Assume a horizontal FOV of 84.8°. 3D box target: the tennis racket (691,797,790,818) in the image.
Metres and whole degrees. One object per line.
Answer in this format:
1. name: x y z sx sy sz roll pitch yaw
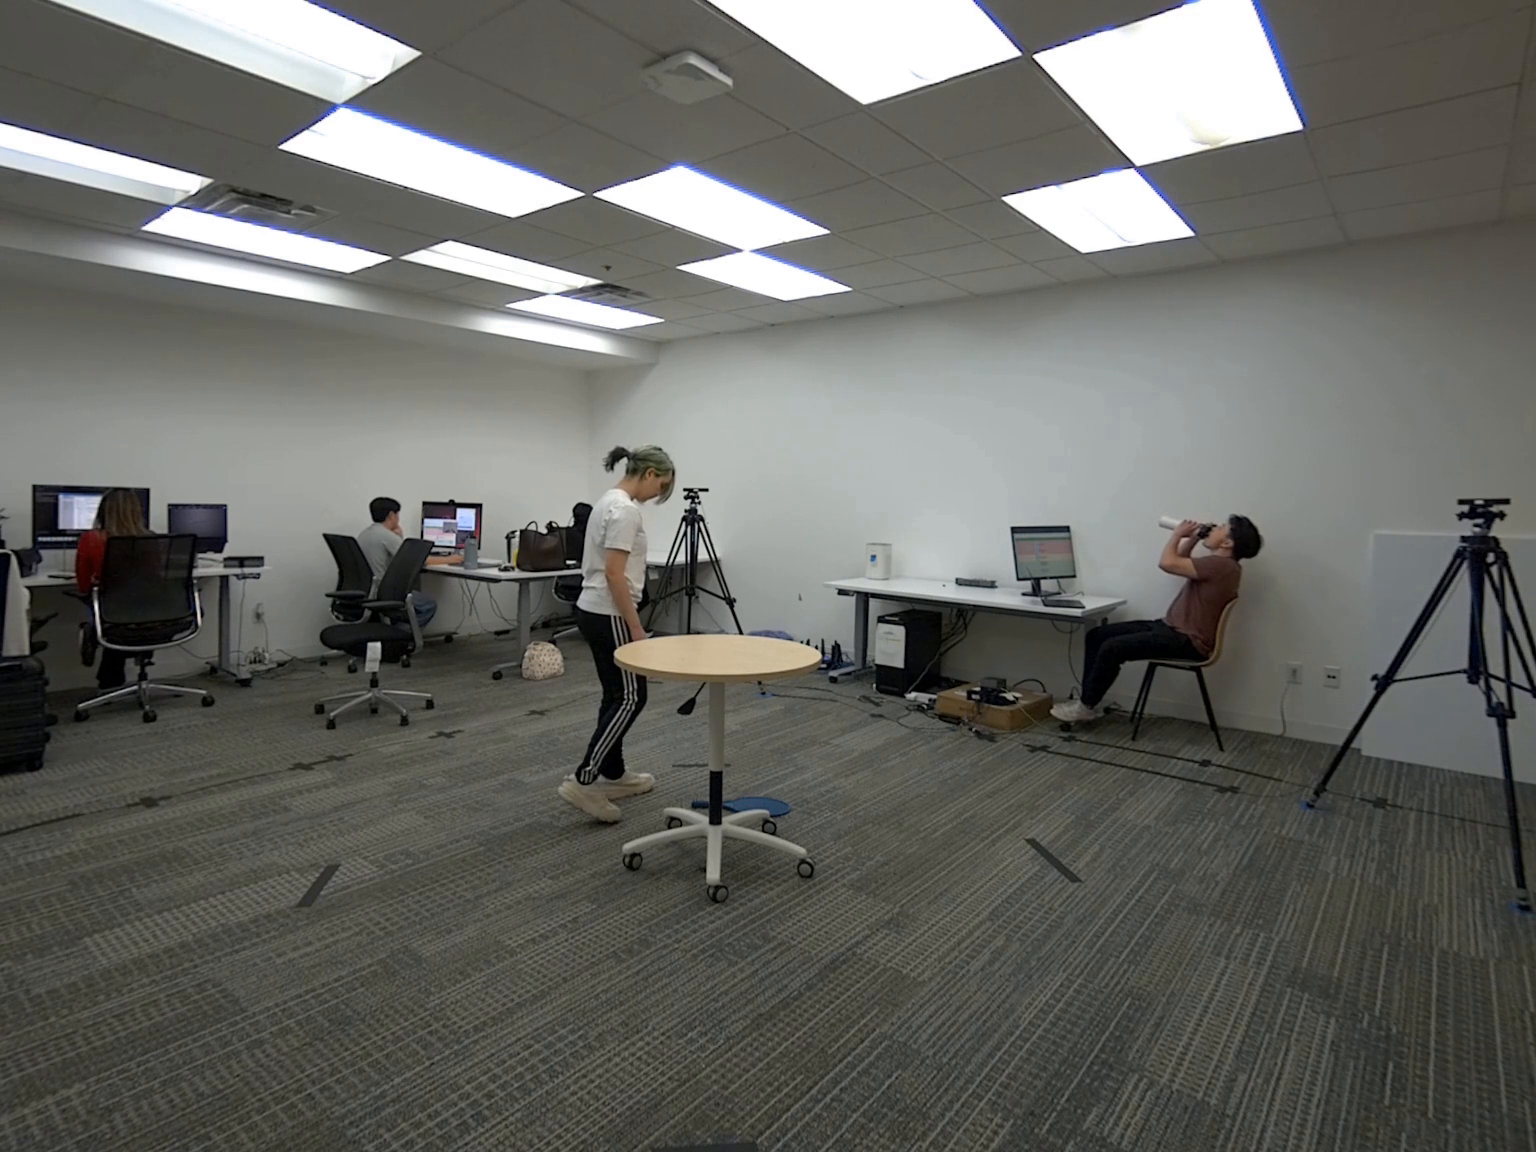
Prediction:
1. tennis racket: -0.128 0.992 3.704 0.432 0.031 0.215 3 6 -3
